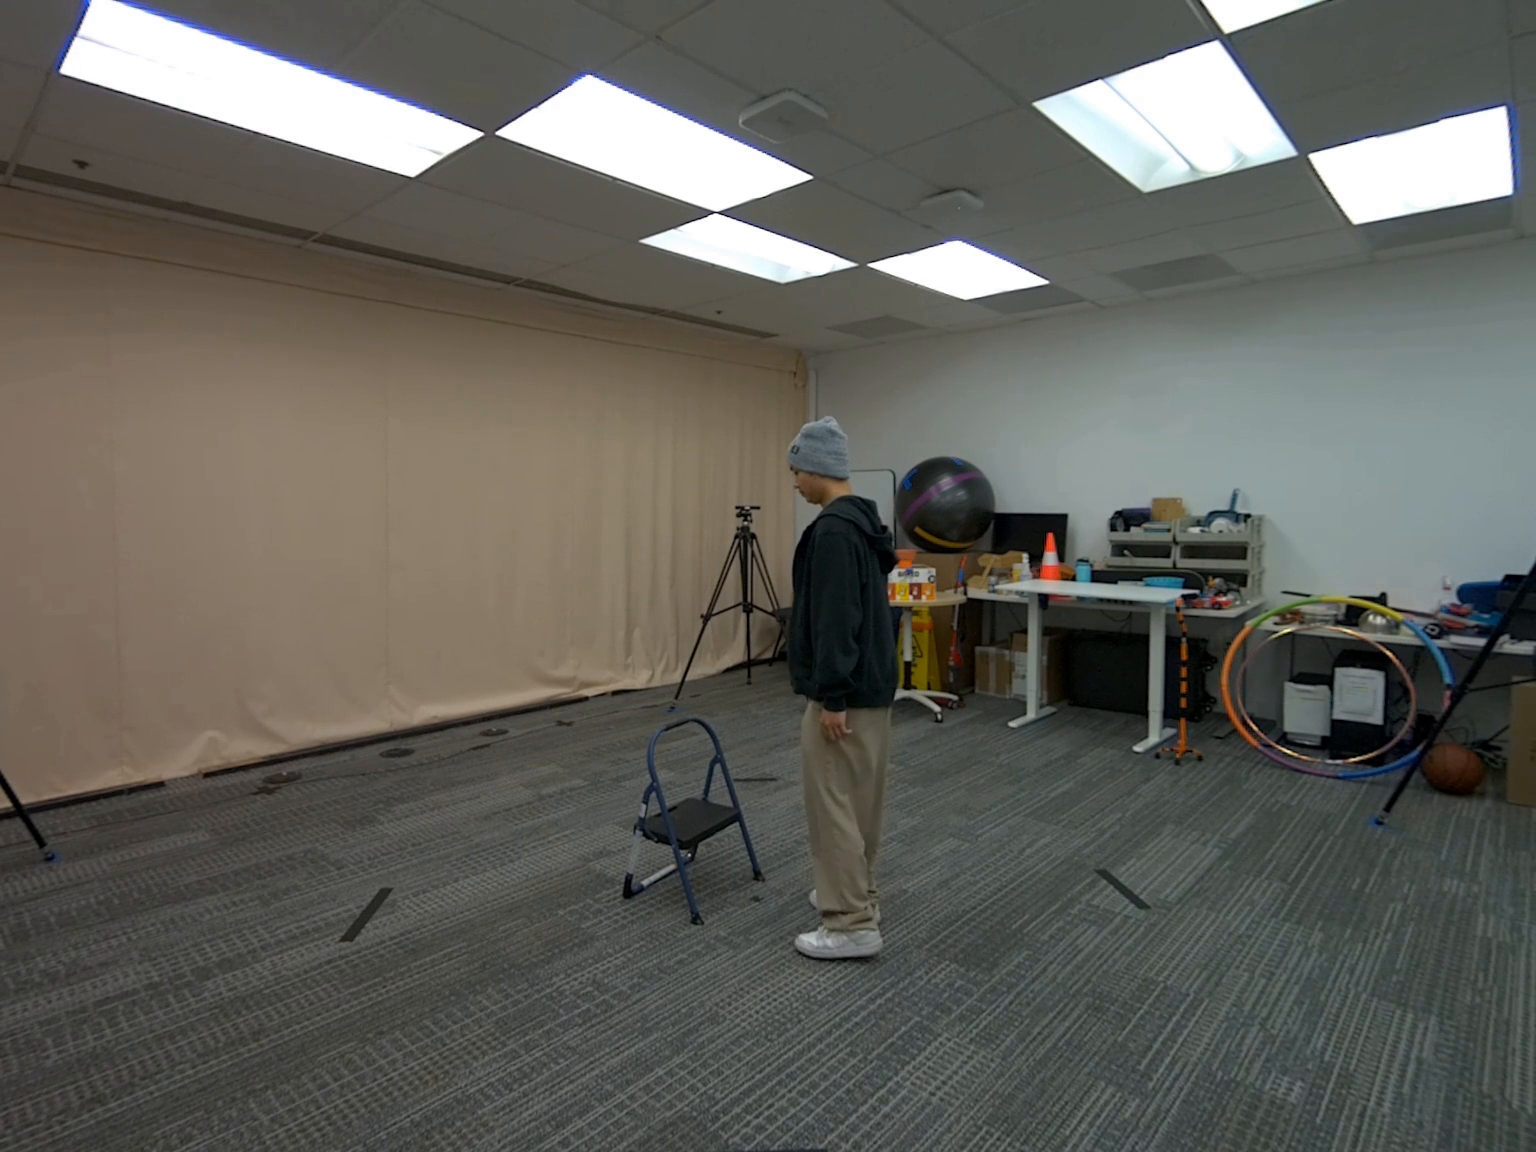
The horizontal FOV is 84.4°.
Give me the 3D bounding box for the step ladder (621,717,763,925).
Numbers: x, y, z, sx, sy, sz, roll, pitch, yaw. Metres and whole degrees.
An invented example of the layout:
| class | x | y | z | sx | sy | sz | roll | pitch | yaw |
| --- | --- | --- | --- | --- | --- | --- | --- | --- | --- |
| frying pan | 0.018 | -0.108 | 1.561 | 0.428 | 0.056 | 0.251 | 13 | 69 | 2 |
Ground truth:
| class | x | y | z | sx | sy | sz | roll | pitch | yaw |
| --- | --- | --- | --- | --- | --- | --- | --- | --- | --- |
| step ladder | -0.267 | 0.837 | 3.054 | 0.360 | 0.605 | 0.418 | 2 | 4 | 33 |
